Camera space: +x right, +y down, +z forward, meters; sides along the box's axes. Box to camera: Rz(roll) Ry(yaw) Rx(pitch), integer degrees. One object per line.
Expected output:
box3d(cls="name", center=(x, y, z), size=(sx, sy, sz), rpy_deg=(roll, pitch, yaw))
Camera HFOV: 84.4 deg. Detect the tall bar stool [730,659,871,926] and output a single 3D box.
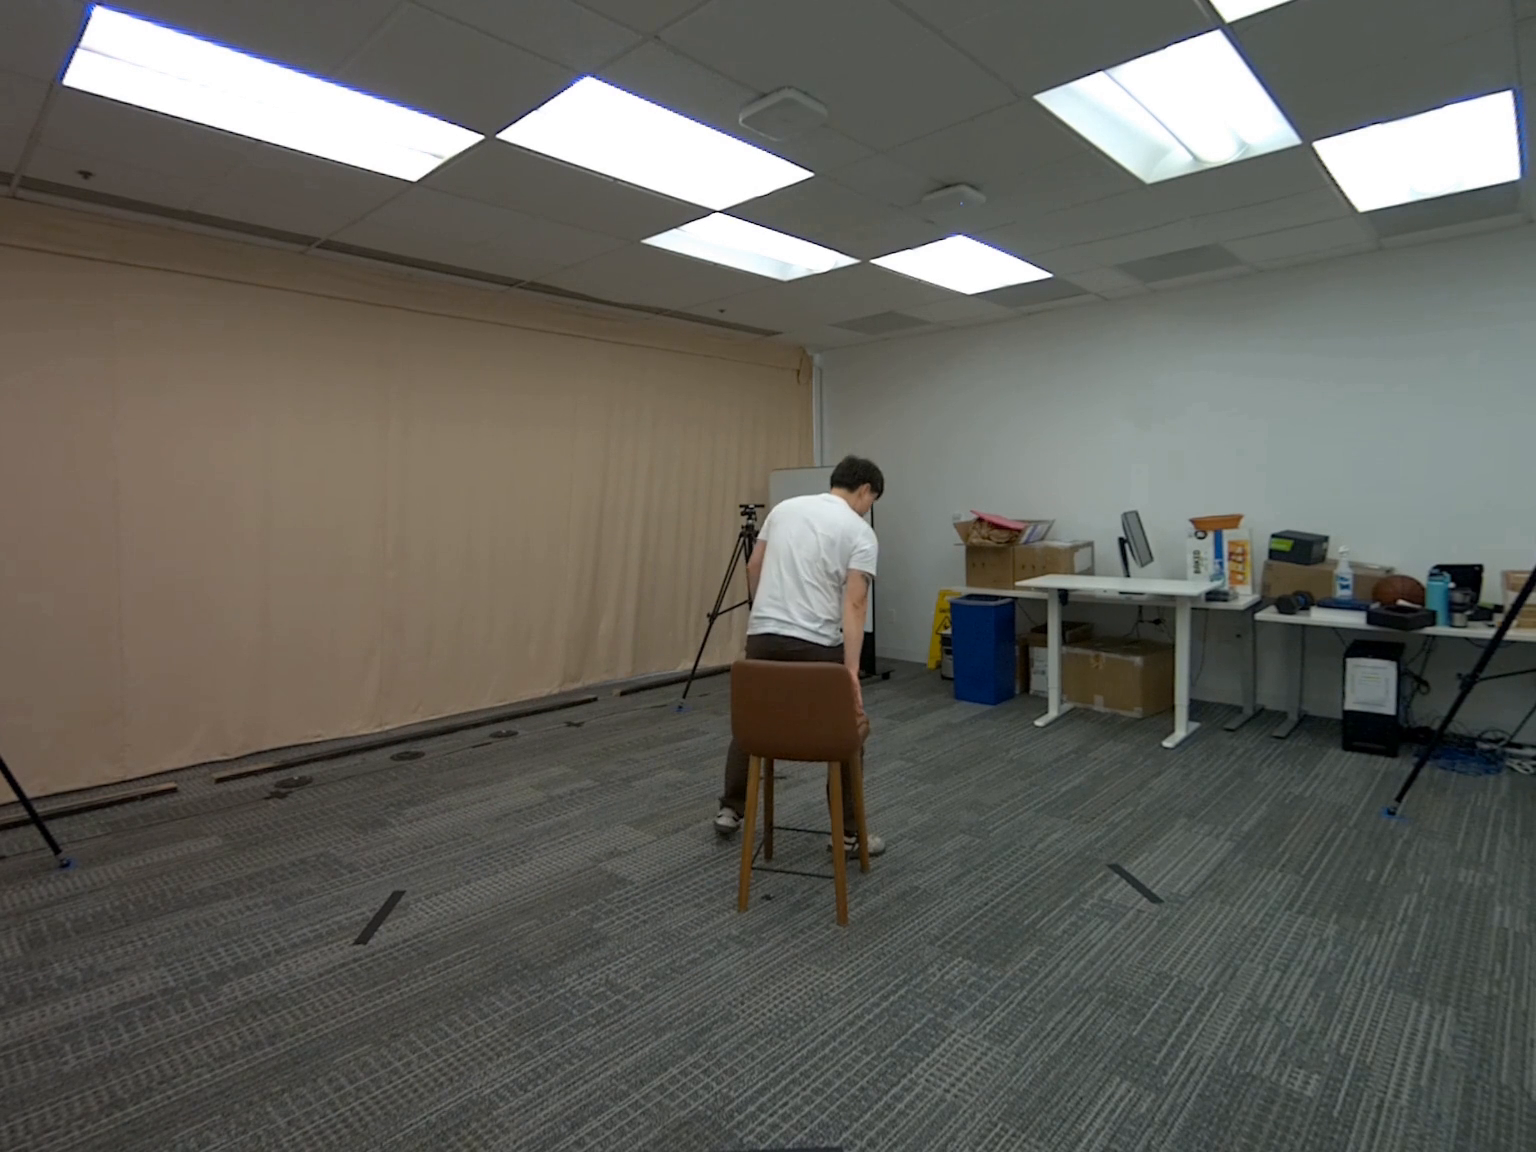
box3d(cls="tall bar stool", center=(0.127, 0.698, 3.012), size=(0.465, 0.887, 0.460), rpy_deg=(1, 5, 18))
